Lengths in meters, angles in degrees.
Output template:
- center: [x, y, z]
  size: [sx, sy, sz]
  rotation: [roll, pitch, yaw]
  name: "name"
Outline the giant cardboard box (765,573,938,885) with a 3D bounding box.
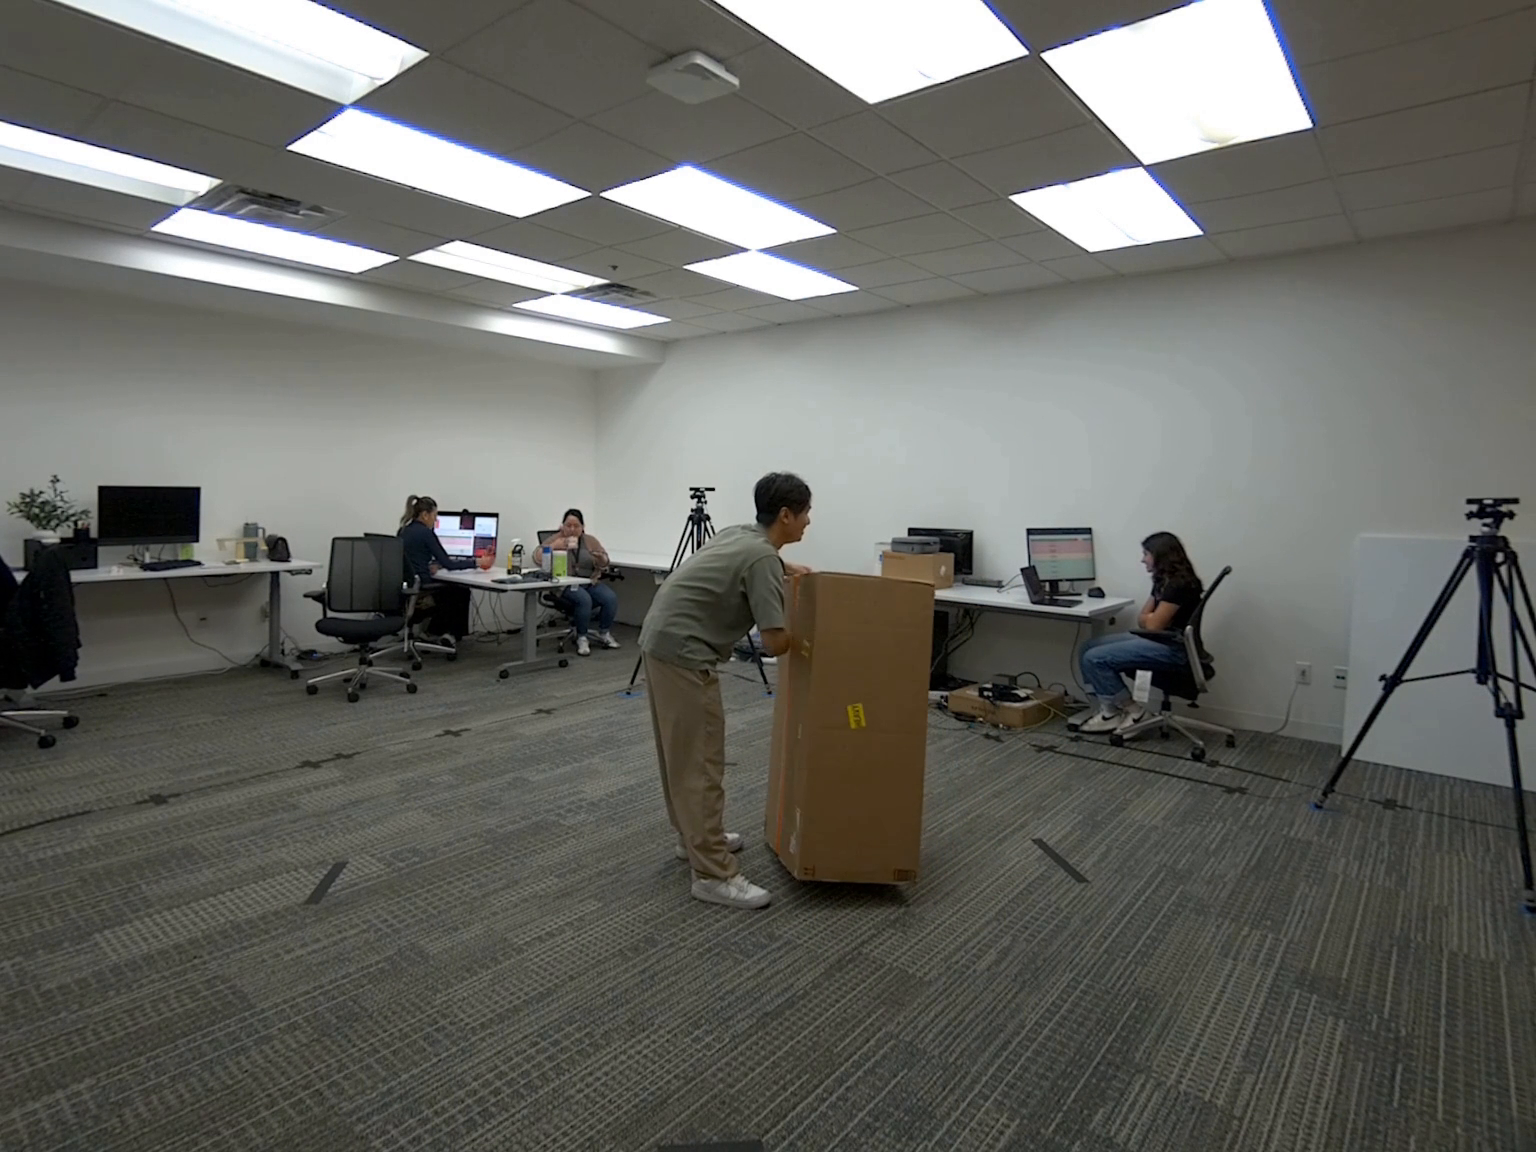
- center: [0.273, 0.526, 3.163]
  size: [0.422, 1.031, 0.581]
  rotation: [5, -5, -10]
  name: "giant cardboard box"
